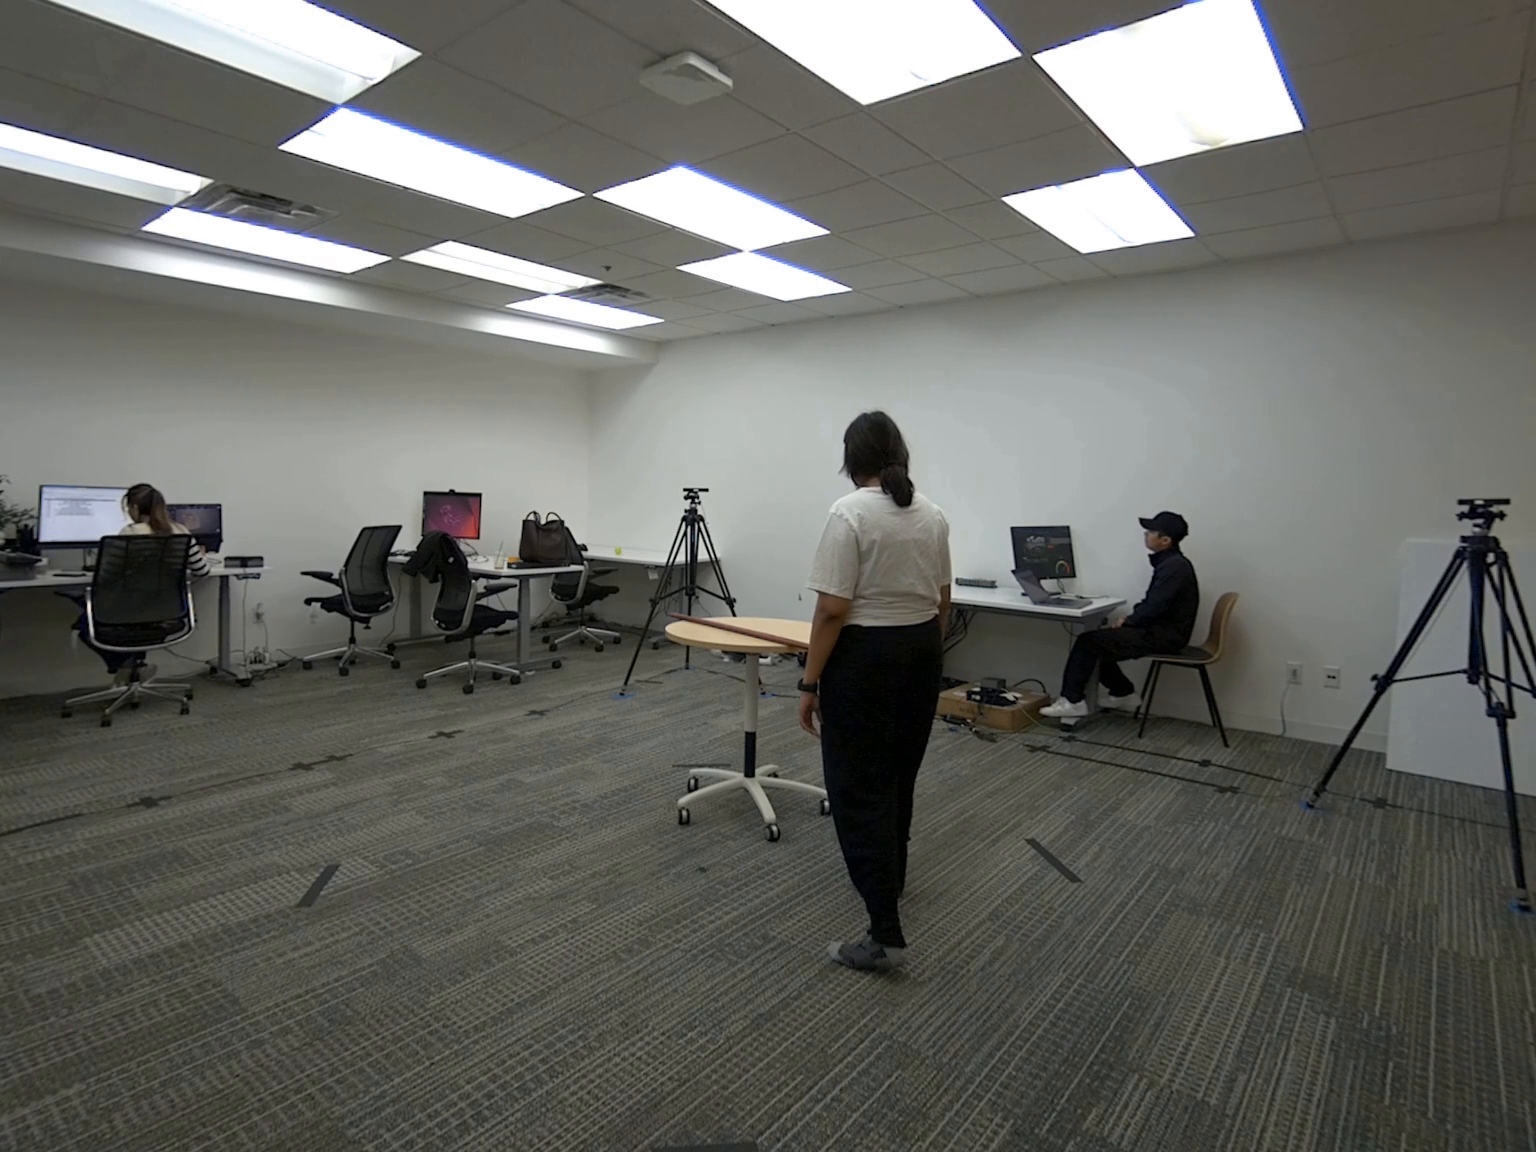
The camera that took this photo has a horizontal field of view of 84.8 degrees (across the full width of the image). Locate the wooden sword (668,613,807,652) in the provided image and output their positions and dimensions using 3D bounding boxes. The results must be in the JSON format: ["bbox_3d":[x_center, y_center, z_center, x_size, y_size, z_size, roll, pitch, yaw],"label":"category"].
[{"bbox_3d":[-0.141,0.231,3.566,0.049,0.024,1.060,30,-12,-37],"label":"wooden sword"}]
